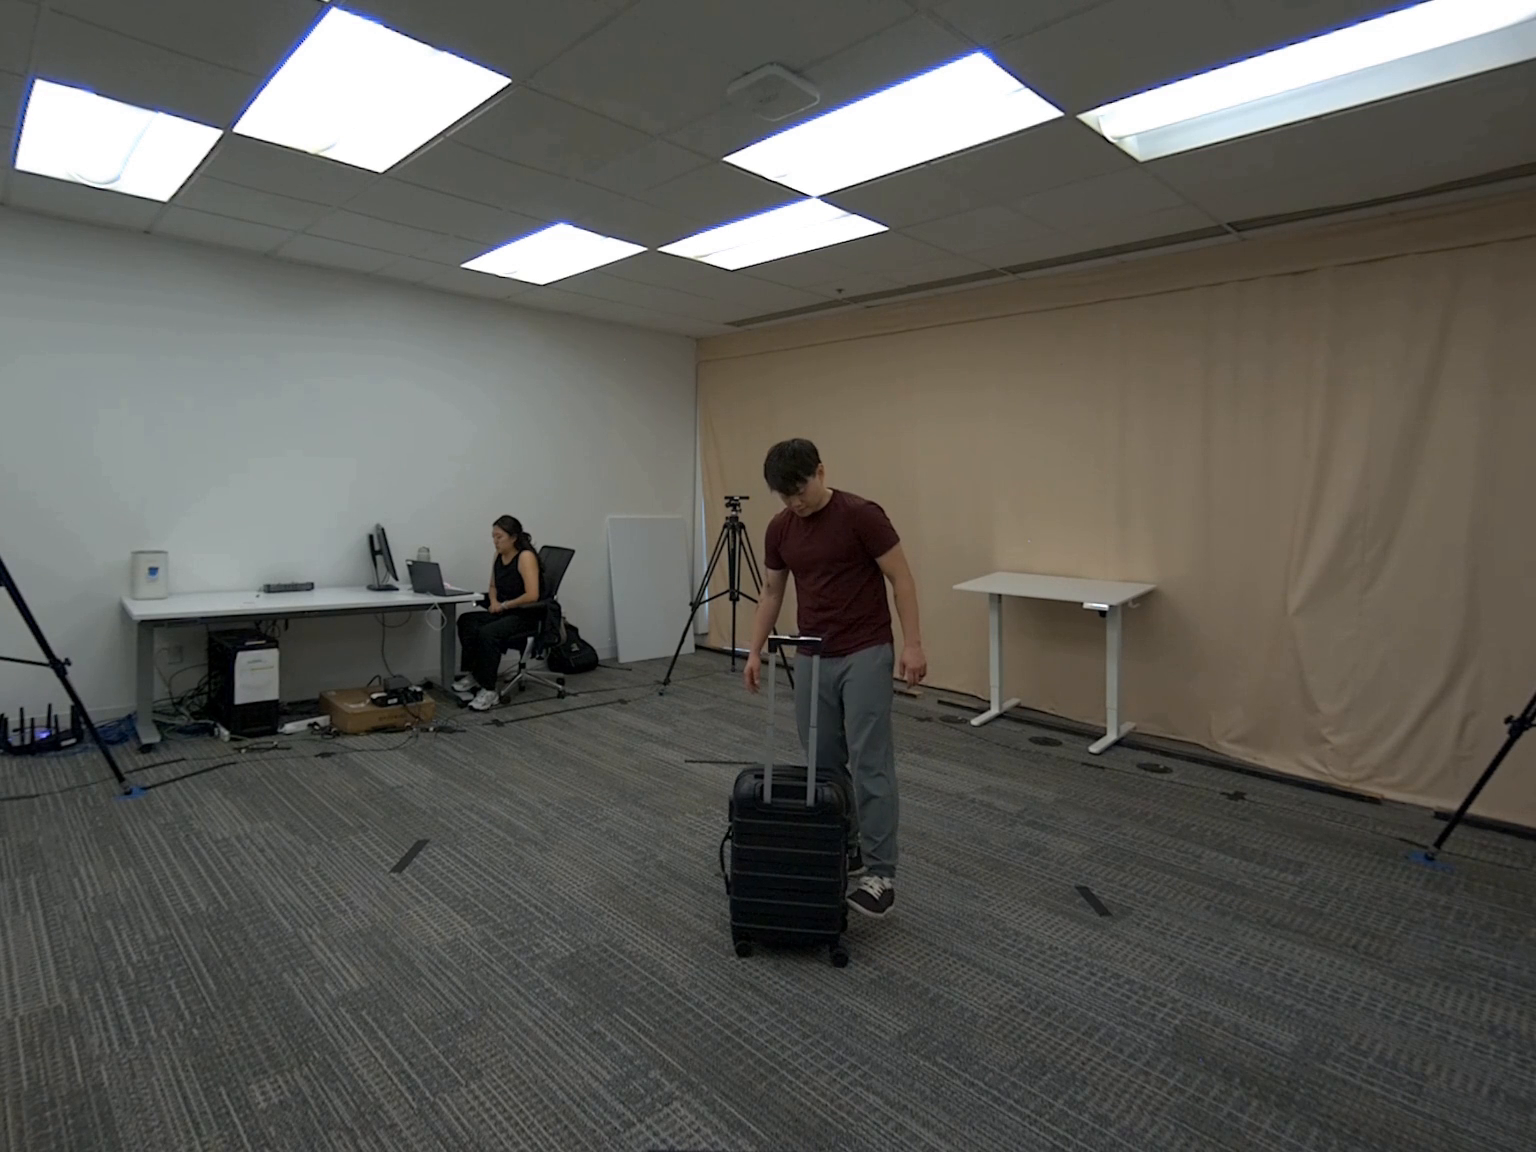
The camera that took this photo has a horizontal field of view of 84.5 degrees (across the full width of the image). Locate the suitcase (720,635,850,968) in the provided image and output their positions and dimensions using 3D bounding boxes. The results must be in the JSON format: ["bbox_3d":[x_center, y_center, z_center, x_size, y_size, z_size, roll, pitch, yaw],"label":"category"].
[{"bbox_3d":[0.057,0.677,2.616,0.386,0.975,0.256,1,4,6],"label":"suitcase"}]
